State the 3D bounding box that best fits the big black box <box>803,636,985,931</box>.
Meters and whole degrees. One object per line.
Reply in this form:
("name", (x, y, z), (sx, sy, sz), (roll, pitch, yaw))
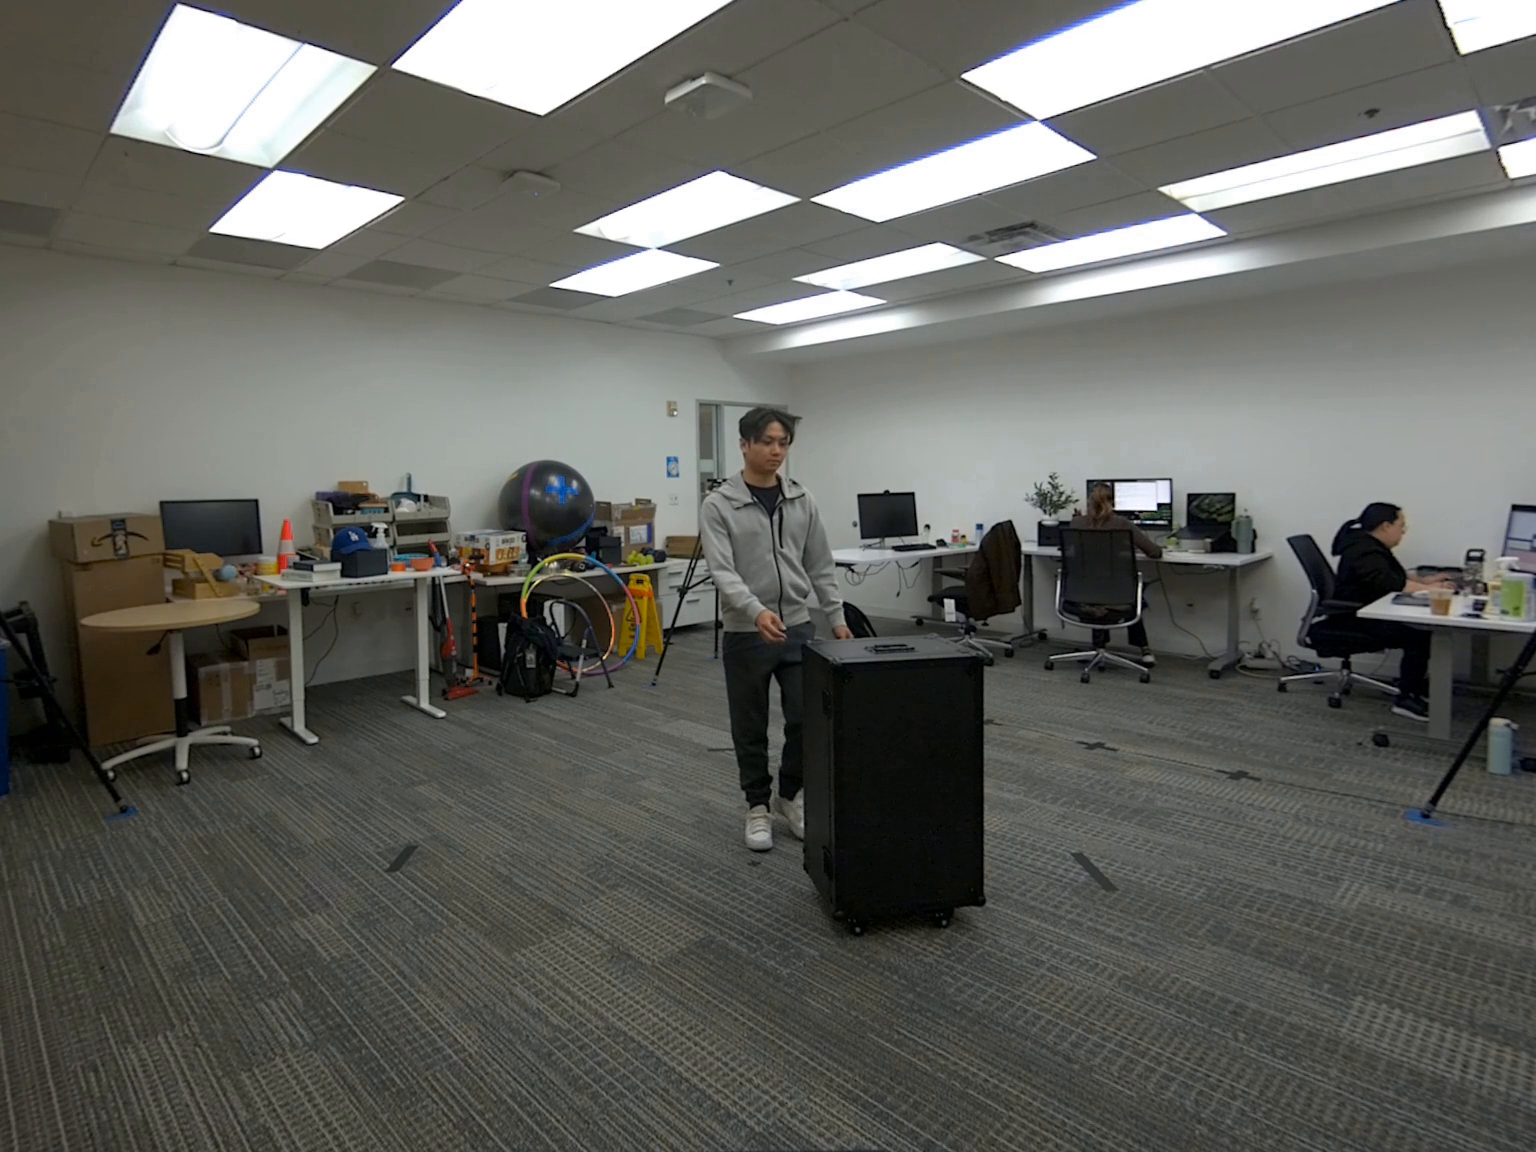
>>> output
("big black box", (0.403, 0.593, 2.750), (0.515, 0.858, 0.402), (-2, 5, -13))
